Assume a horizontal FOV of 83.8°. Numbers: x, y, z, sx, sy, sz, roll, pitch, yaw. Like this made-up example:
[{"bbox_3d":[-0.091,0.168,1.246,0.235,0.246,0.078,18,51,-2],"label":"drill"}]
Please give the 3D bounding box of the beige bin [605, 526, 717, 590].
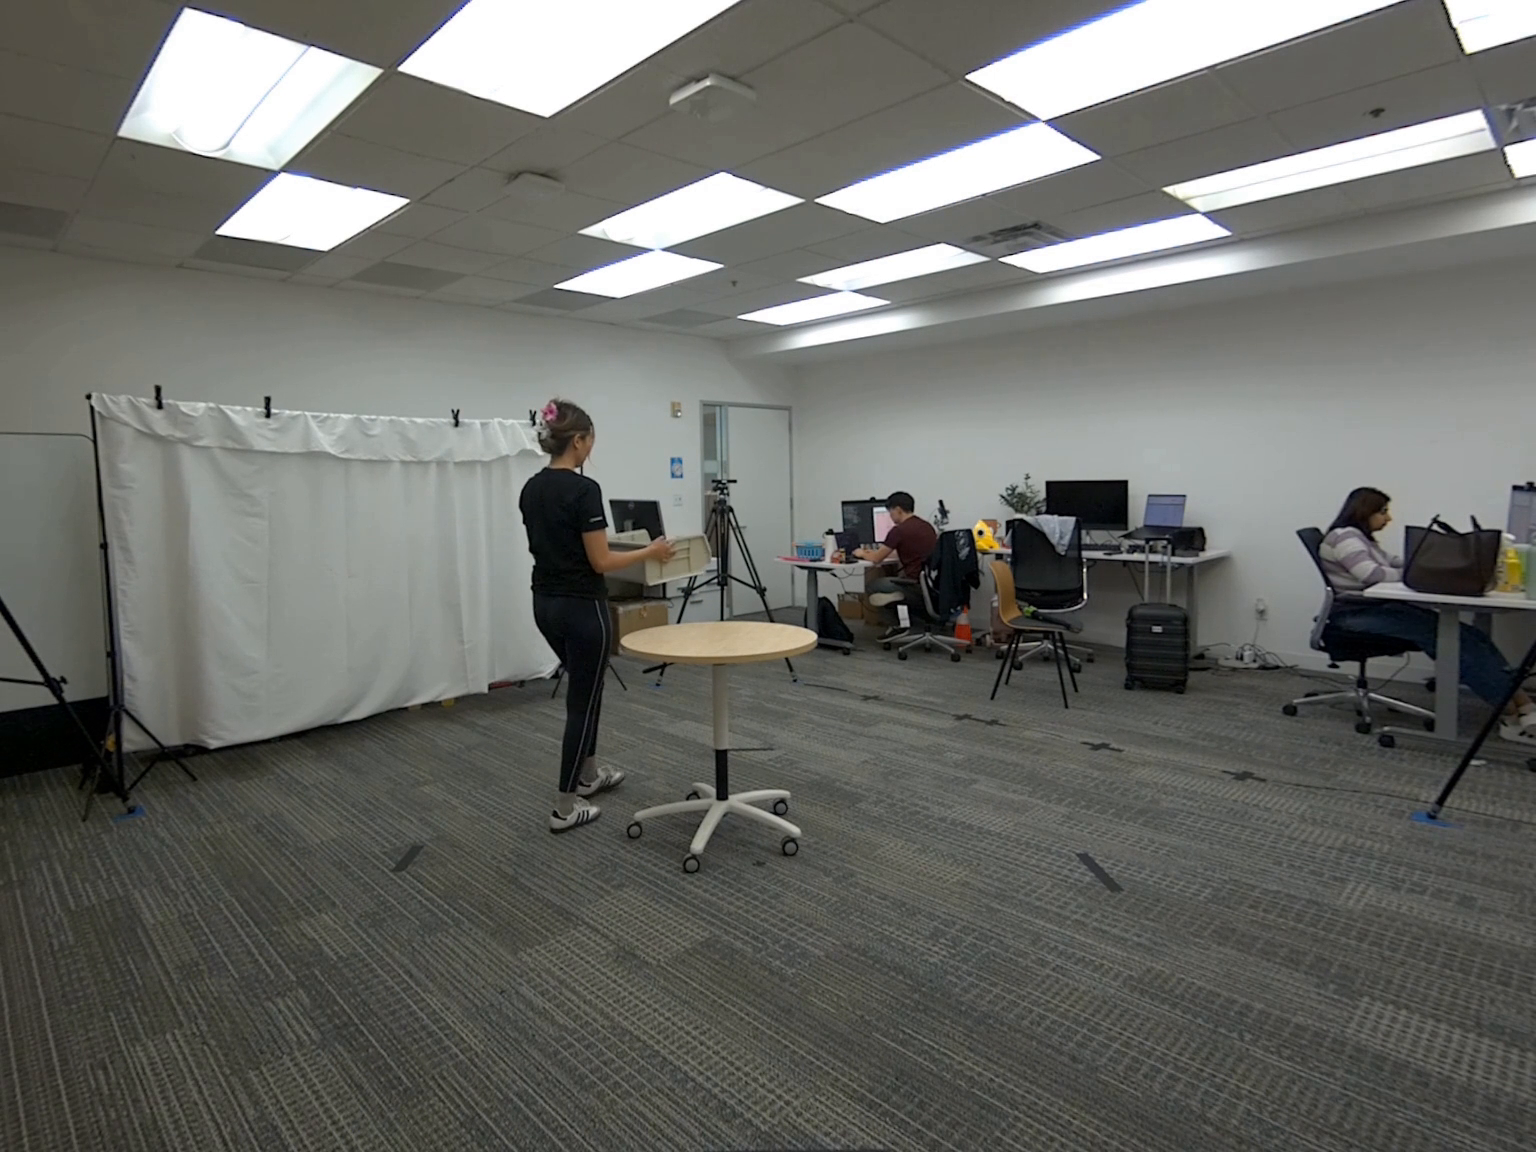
[{"bbox_3d":[-0.523,-0.094,3.829,0.435,0.187,0.369,5,16,45],"label":"beige bin"}]
